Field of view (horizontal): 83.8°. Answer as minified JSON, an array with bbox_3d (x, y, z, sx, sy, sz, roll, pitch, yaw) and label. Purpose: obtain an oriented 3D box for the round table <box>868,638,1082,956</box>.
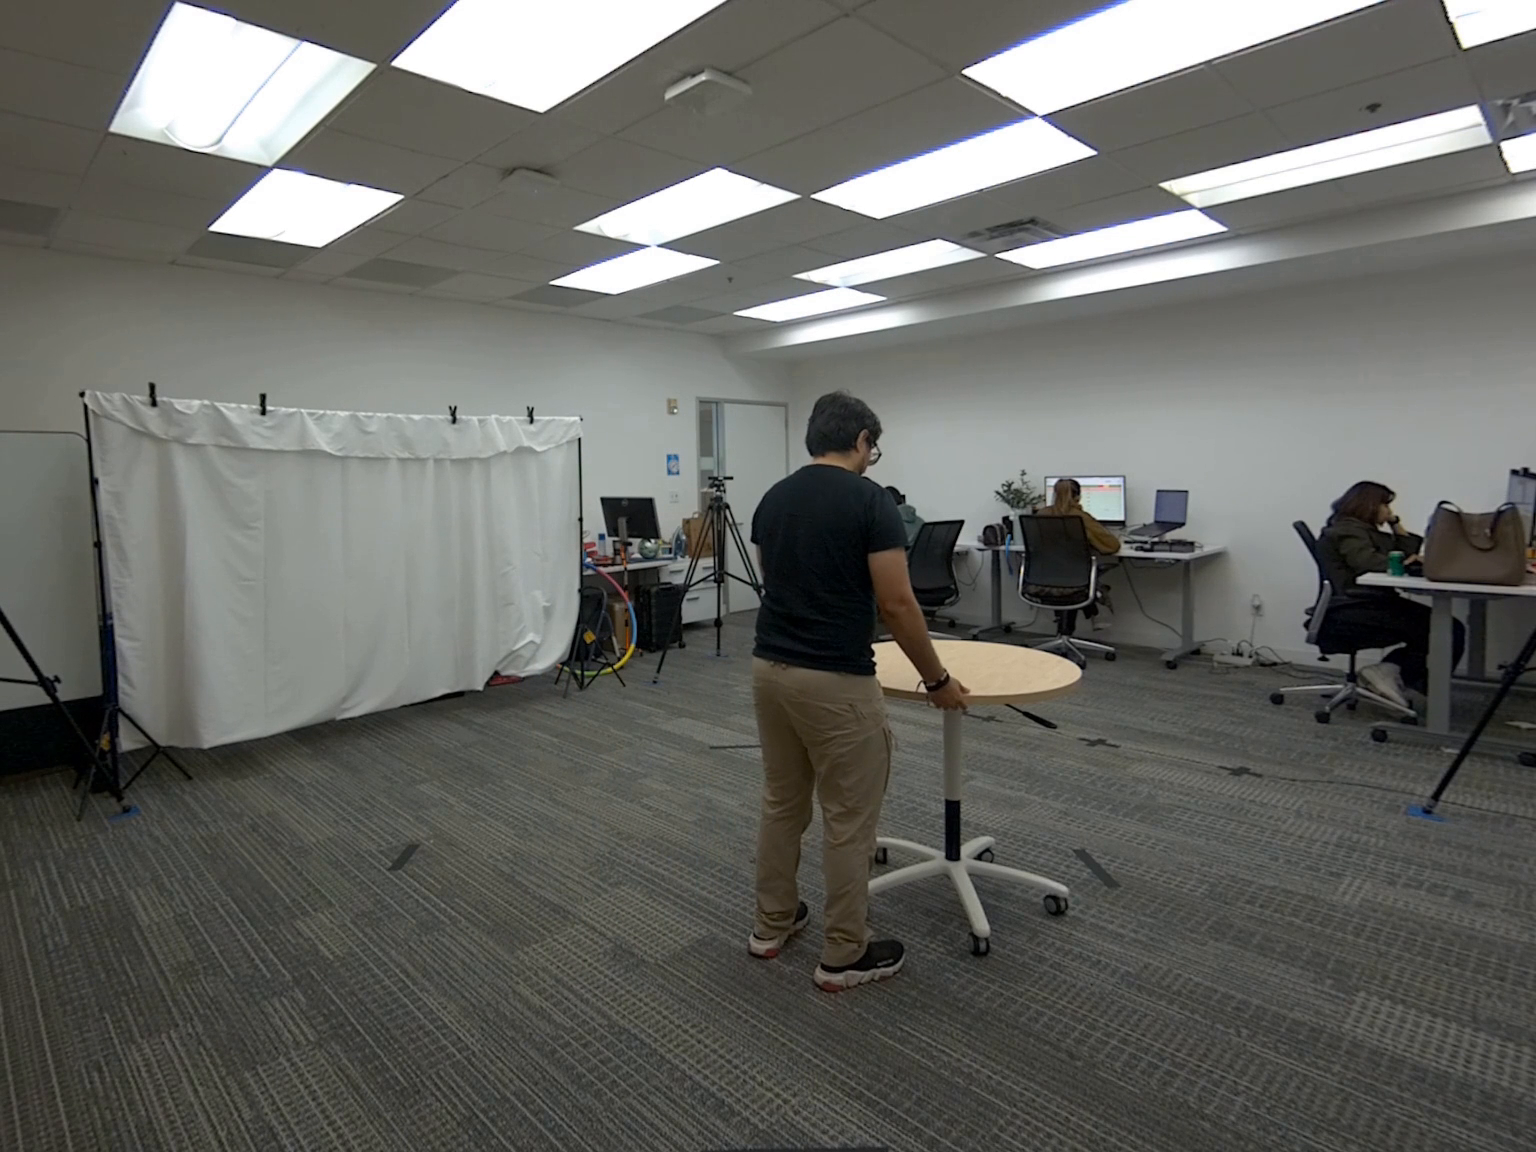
[{"bbox_3d":[0.613,0.670,2.764,0.784,0.783,0.789,-1,5,-2],"label":"round table"}]
